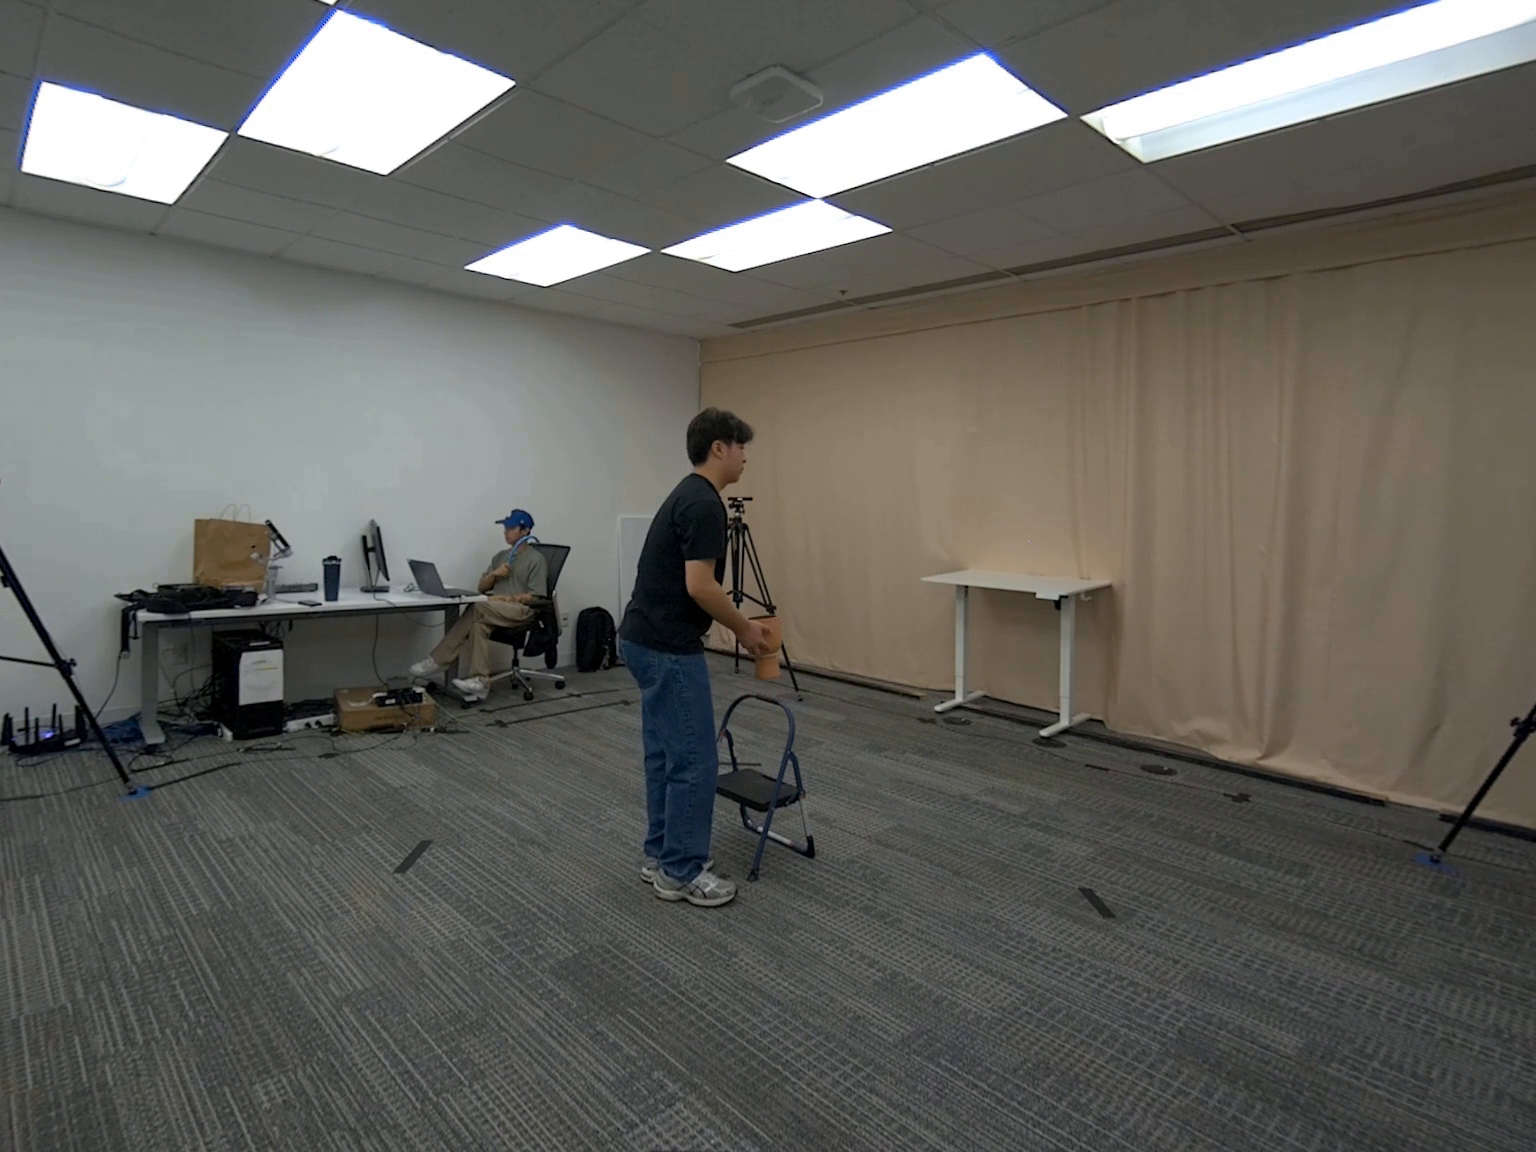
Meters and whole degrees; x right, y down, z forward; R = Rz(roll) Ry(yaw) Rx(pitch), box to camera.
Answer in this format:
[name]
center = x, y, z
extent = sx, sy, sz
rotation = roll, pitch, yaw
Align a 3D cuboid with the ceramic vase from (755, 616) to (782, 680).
[ceramic vase]
center = -0.025, 0.266, 3.117
extent = 0.137, 0.219, 0.155
rotation = -4, 3, 43
